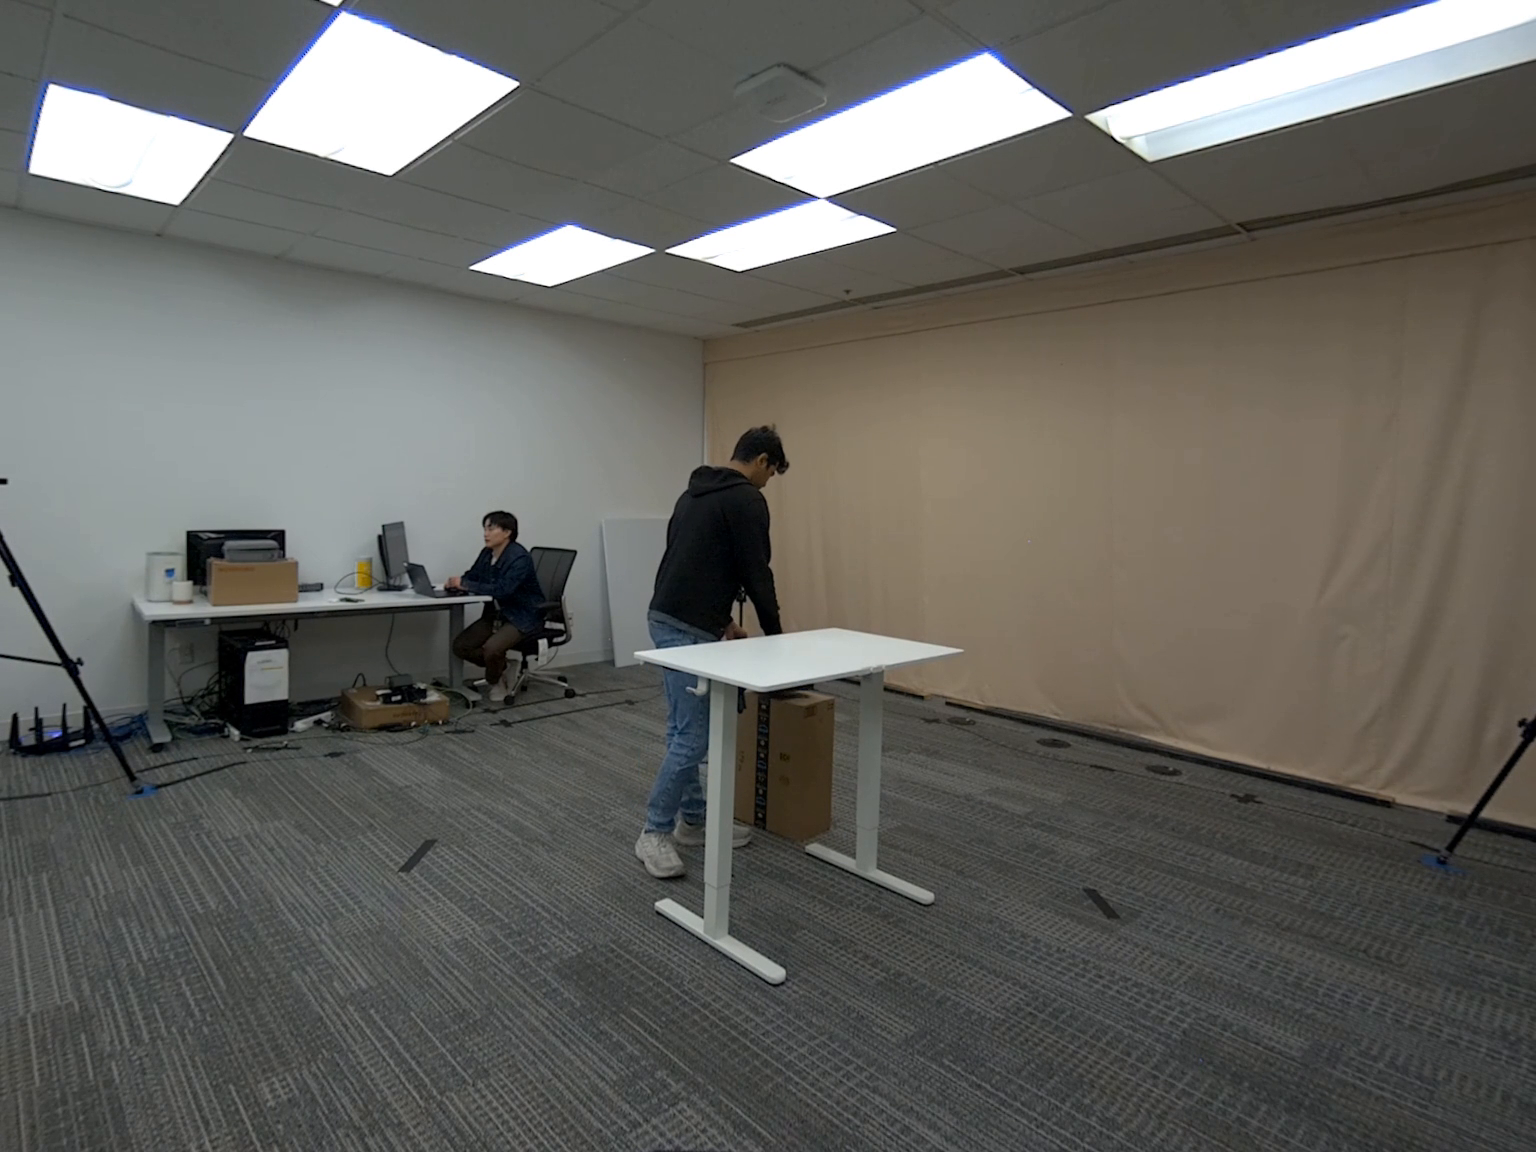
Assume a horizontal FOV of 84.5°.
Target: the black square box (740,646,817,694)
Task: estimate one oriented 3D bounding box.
[{"bbox_3d":[0.042,0.392,3.592,0.212,0.156,0.233,2,2,-41],"label":"black square box"}]
